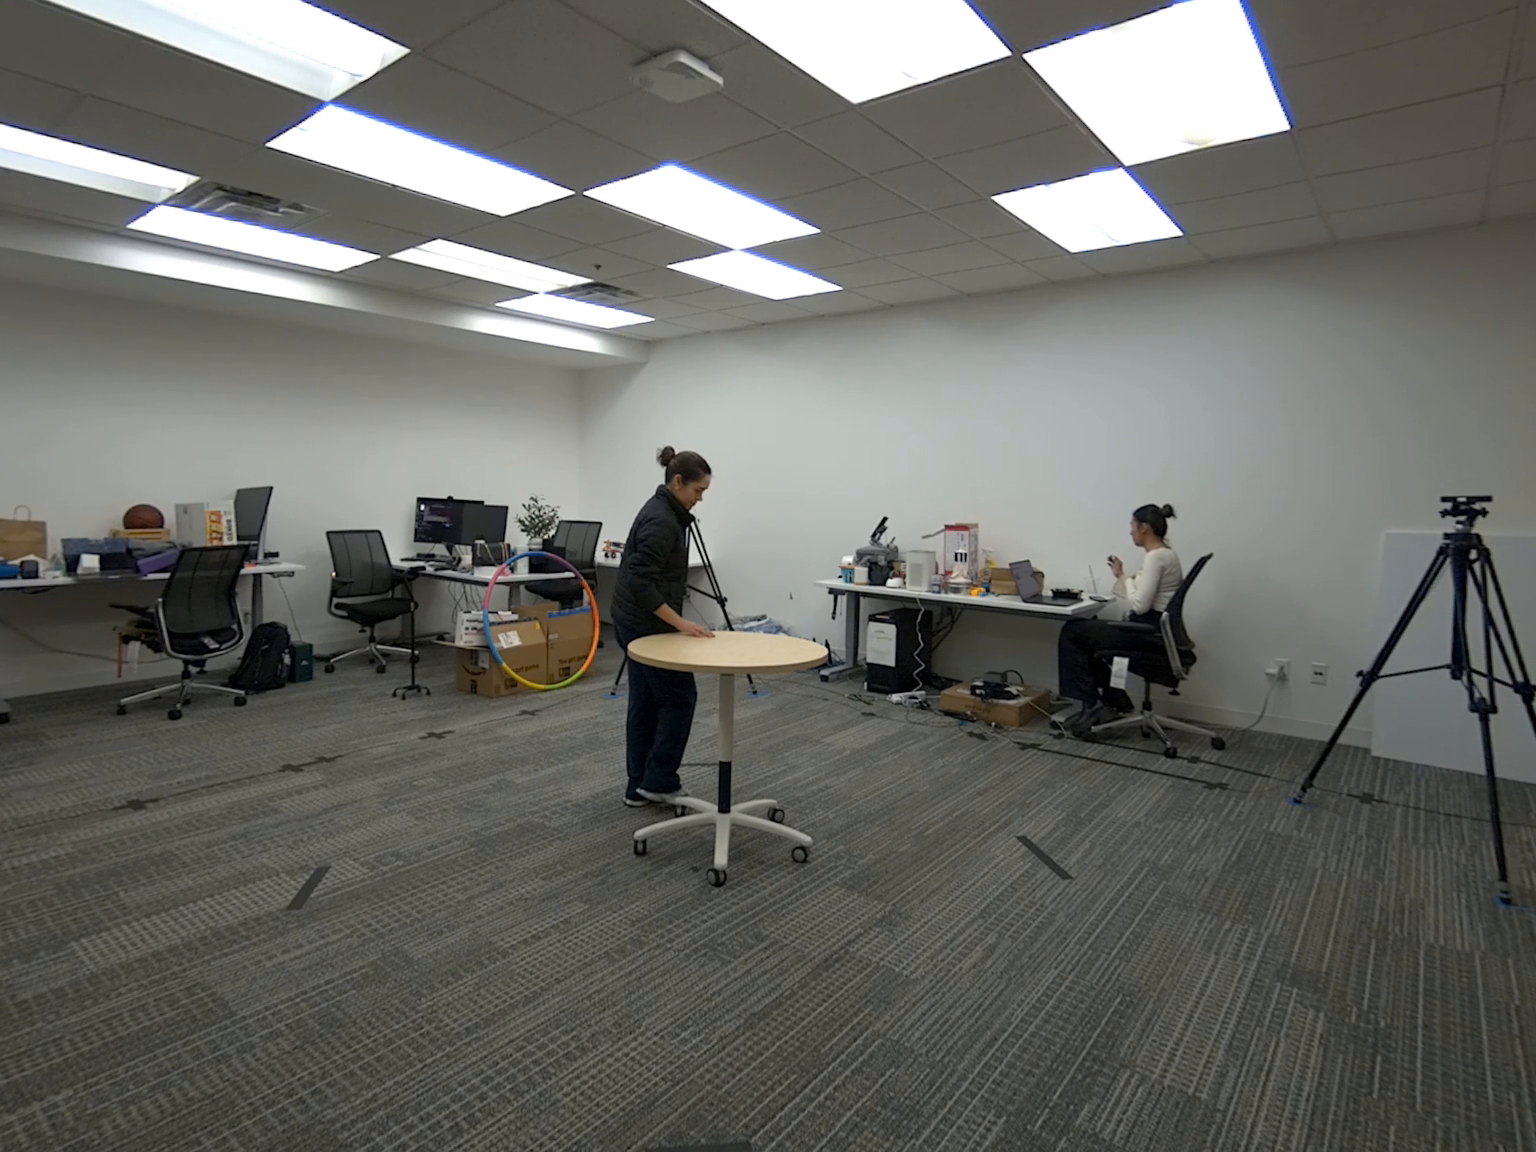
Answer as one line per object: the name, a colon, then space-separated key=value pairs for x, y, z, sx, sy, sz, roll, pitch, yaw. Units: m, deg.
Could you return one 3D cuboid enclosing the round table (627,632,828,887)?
round table: x=-0.136 y=0.656 z=3.285 sx=0.784 sy=0.784 sz=0.789 roll=1 pitch=4 yaw=-2
